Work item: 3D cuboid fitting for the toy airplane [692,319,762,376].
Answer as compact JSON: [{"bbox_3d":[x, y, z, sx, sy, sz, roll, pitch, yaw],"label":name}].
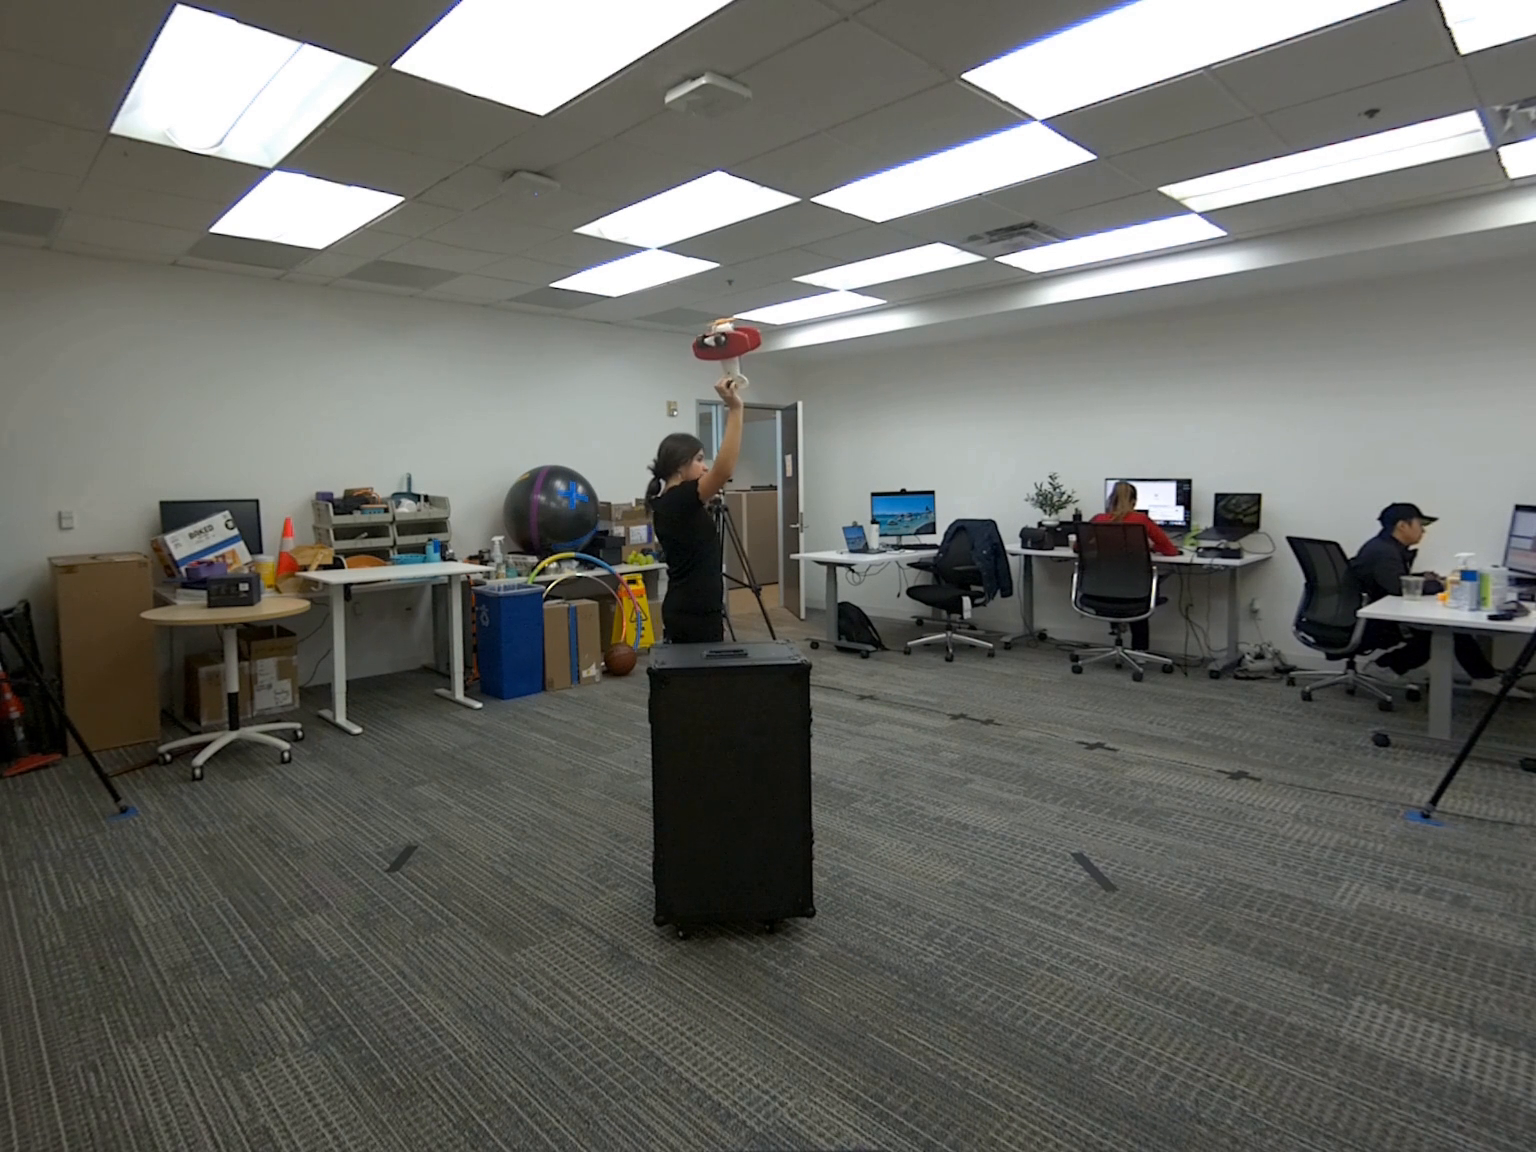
[{"bbox_3d":[-0.167,-0.815,3.158,0.257,0.253,0.157,25,50,17],"label":"toy airplane"}]
